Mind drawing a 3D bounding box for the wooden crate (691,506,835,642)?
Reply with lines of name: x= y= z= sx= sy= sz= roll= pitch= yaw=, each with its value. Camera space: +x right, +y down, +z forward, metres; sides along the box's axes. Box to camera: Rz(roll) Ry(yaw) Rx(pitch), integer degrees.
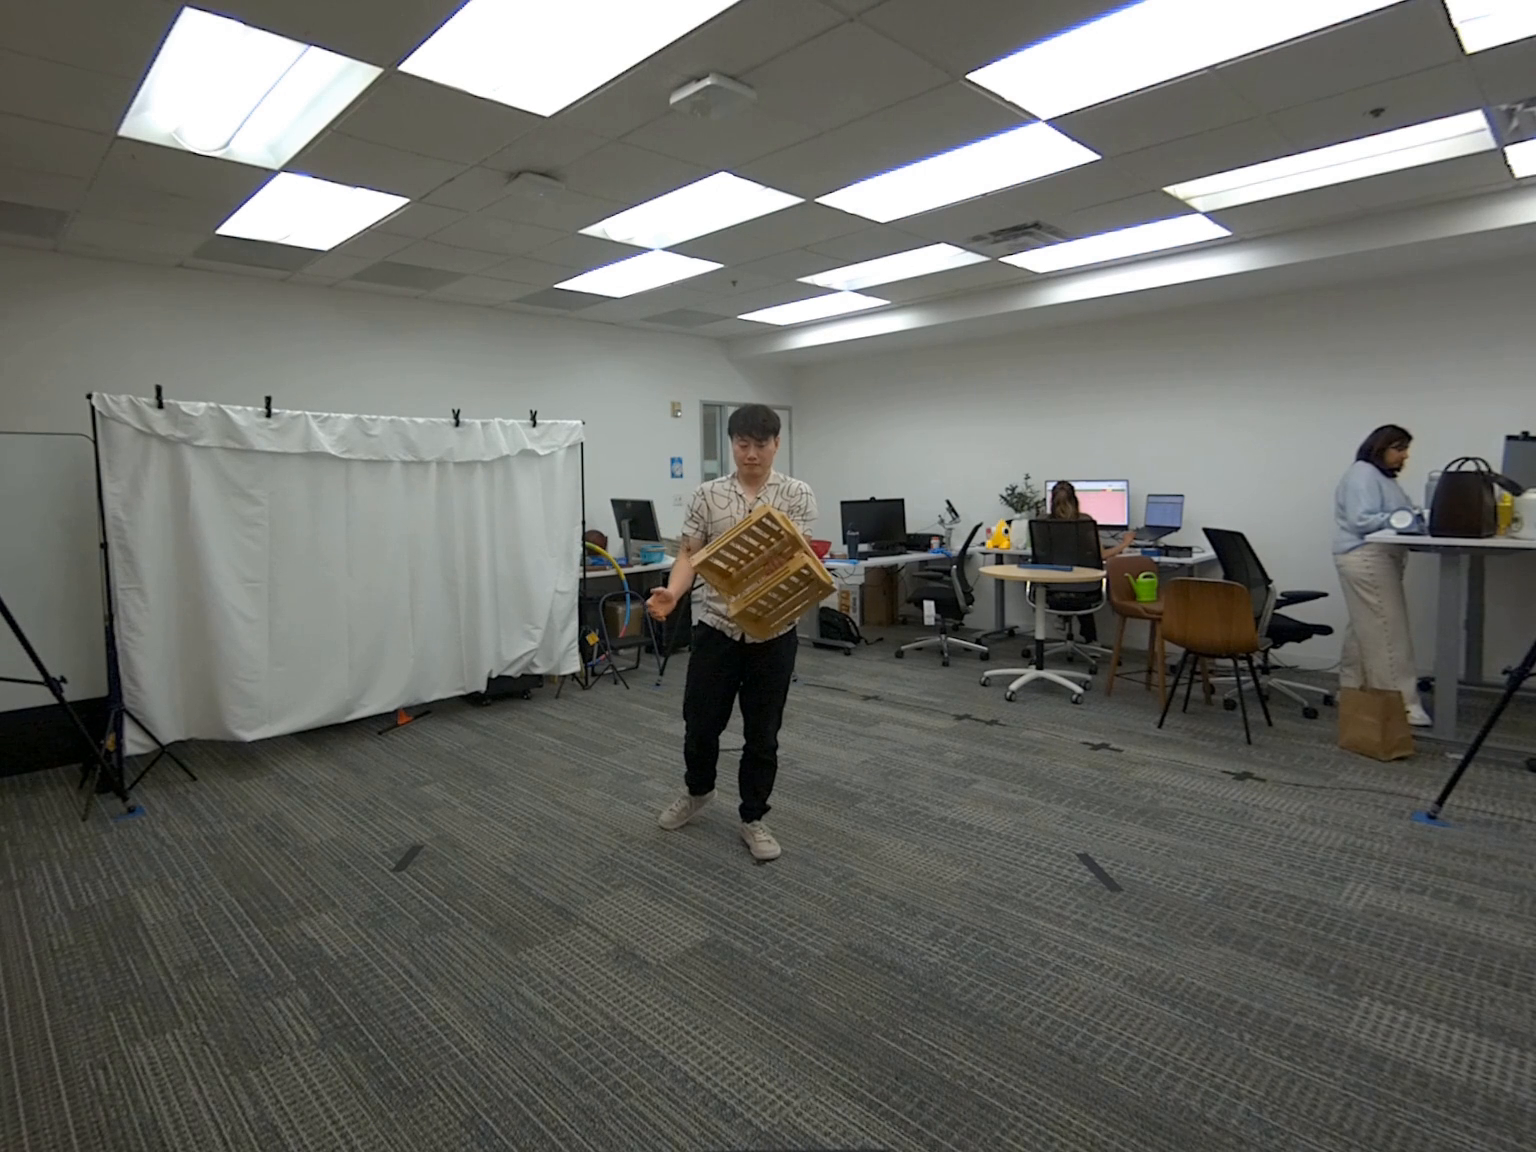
wooden crate: x=-0.017 y=-0.004 z=2.696 sx=0.325 sy=0.282 sz=0.292 roll=-36 pitch=-27 yaw=14
